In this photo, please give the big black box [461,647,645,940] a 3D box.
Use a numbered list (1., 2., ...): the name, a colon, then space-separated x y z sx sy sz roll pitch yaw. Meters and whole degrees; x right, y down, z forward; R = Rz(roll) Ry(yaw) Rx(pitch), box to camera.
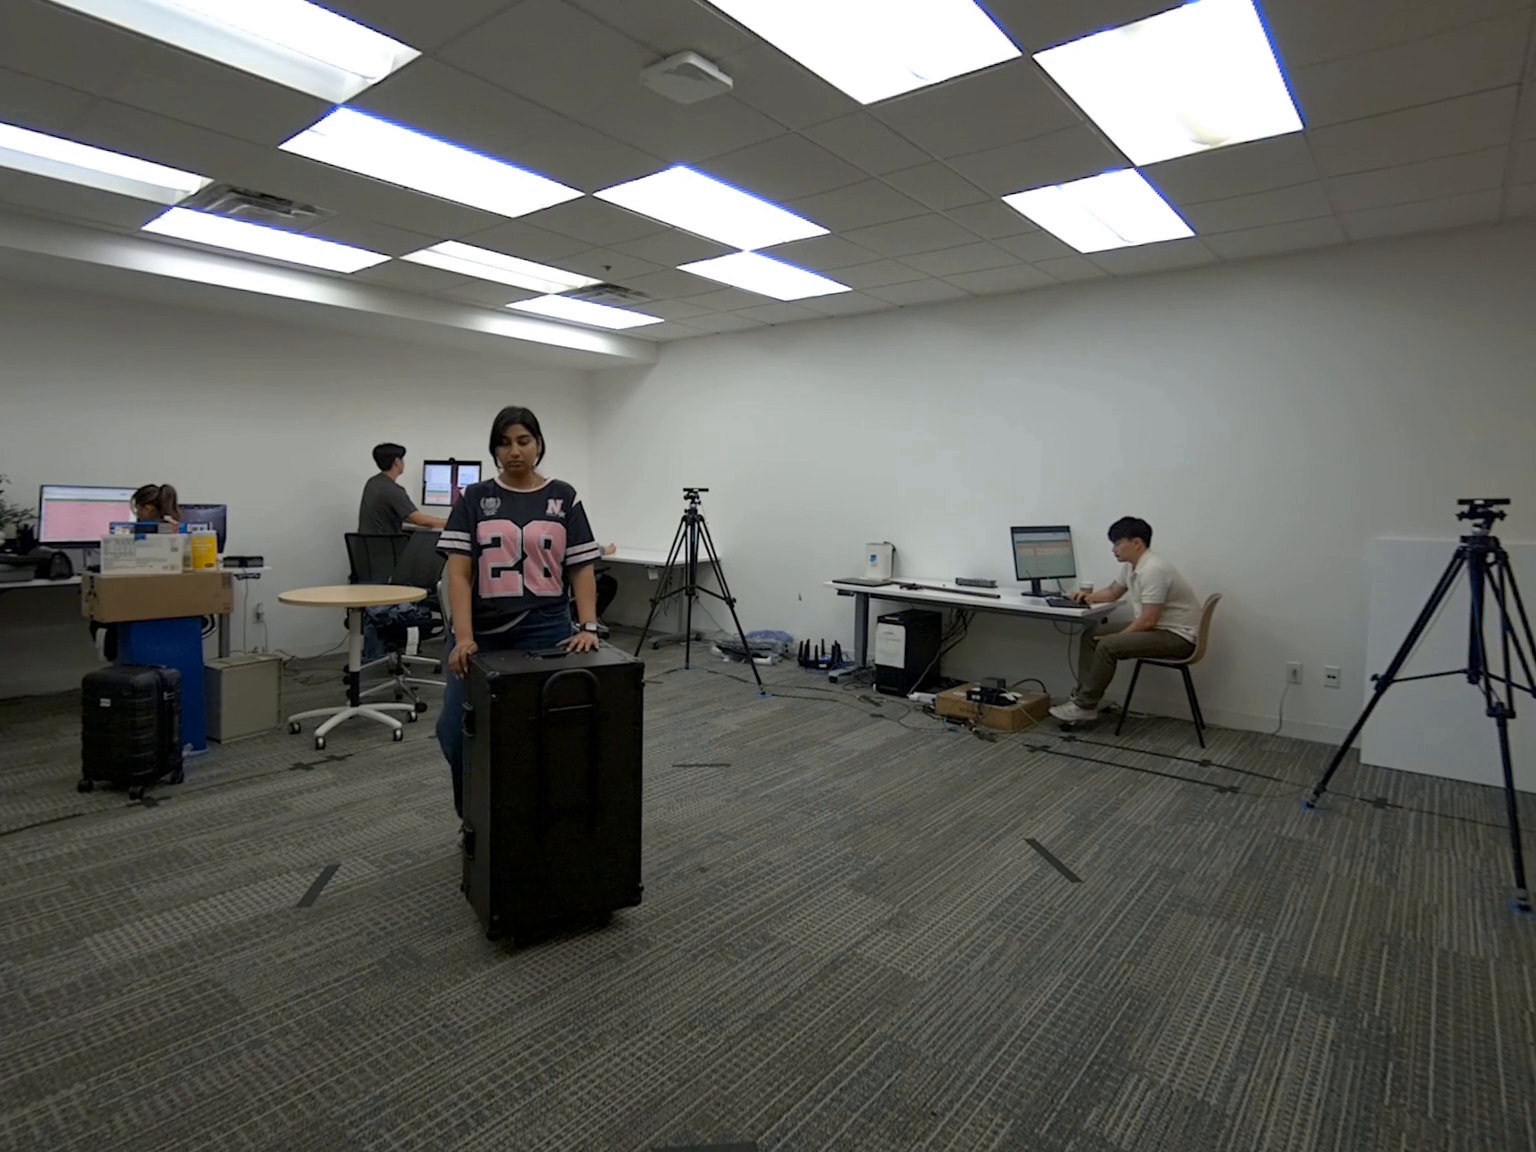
1. big black box: -0.690 0.677 2.707 0.509 0.865 0.397 -1 5 -31
